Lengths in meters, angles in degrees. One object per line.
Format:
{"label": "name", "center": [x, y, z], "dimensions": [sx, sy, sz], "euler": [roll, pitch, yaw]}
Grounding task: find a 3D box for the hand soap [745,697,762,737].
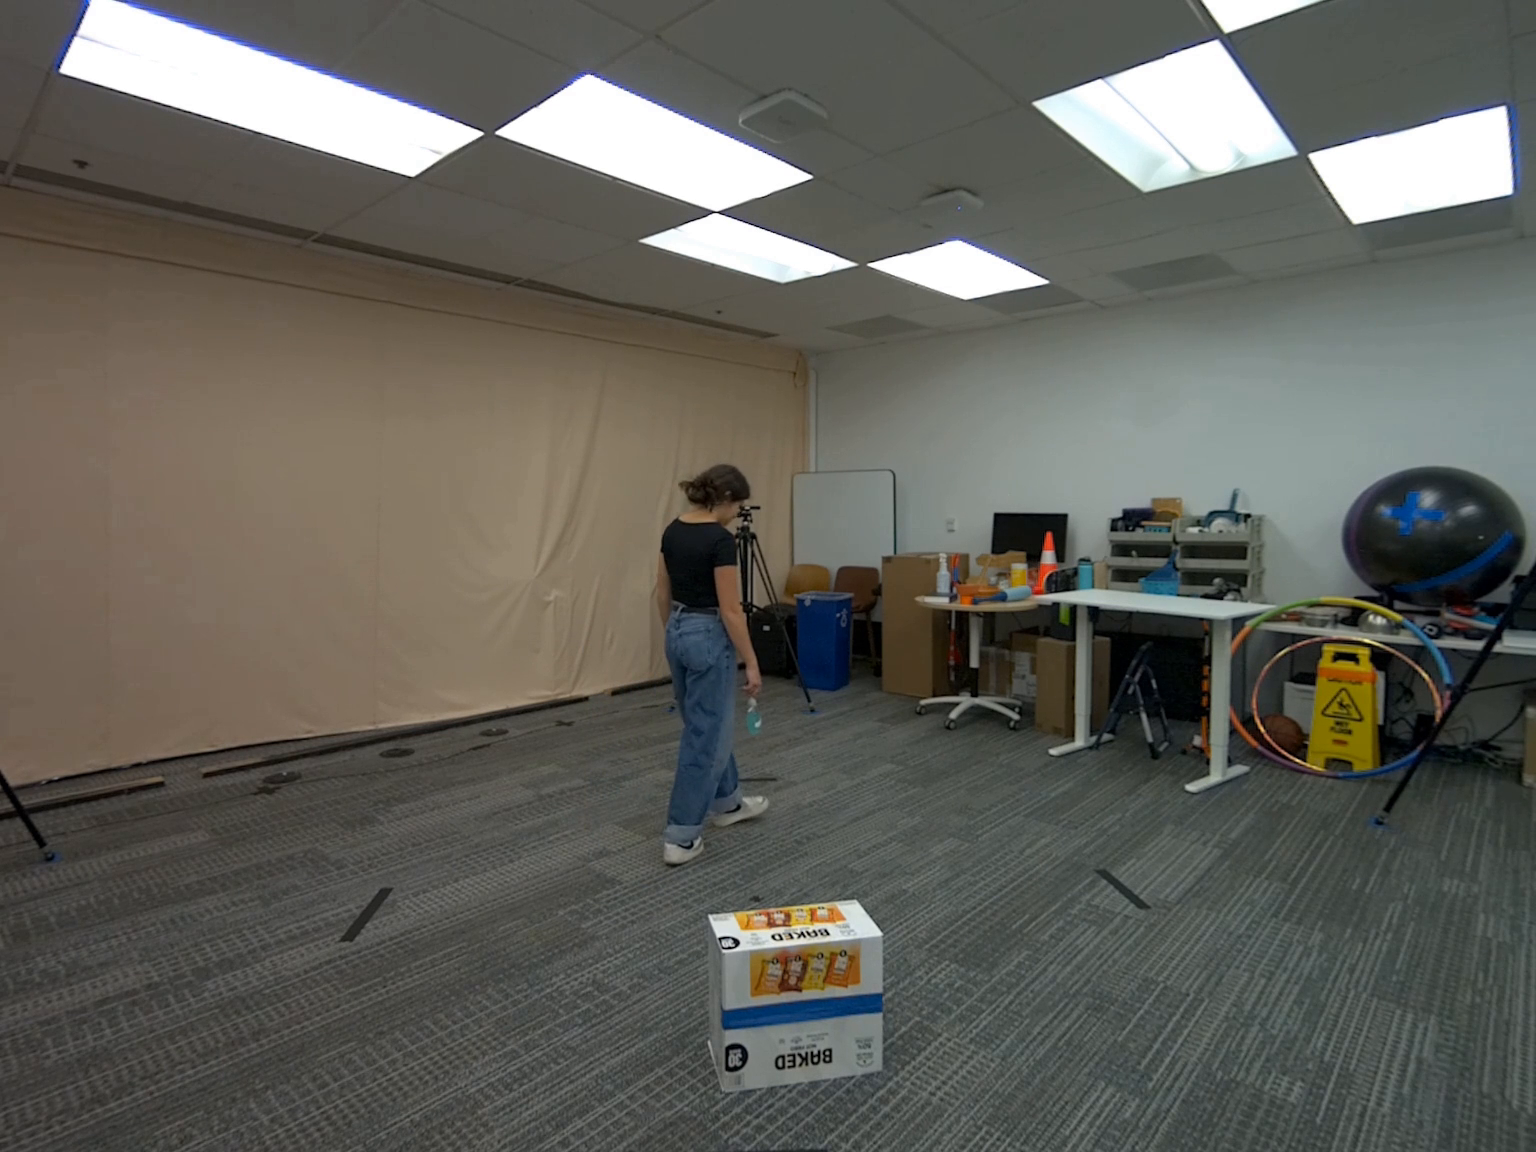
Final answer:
{"label": "hand soap", "center": [-0.067, 0.531, 3.331], "dimensions": [0.044, 0.168, 0.083], "euler": [-13, 3, 20]}
